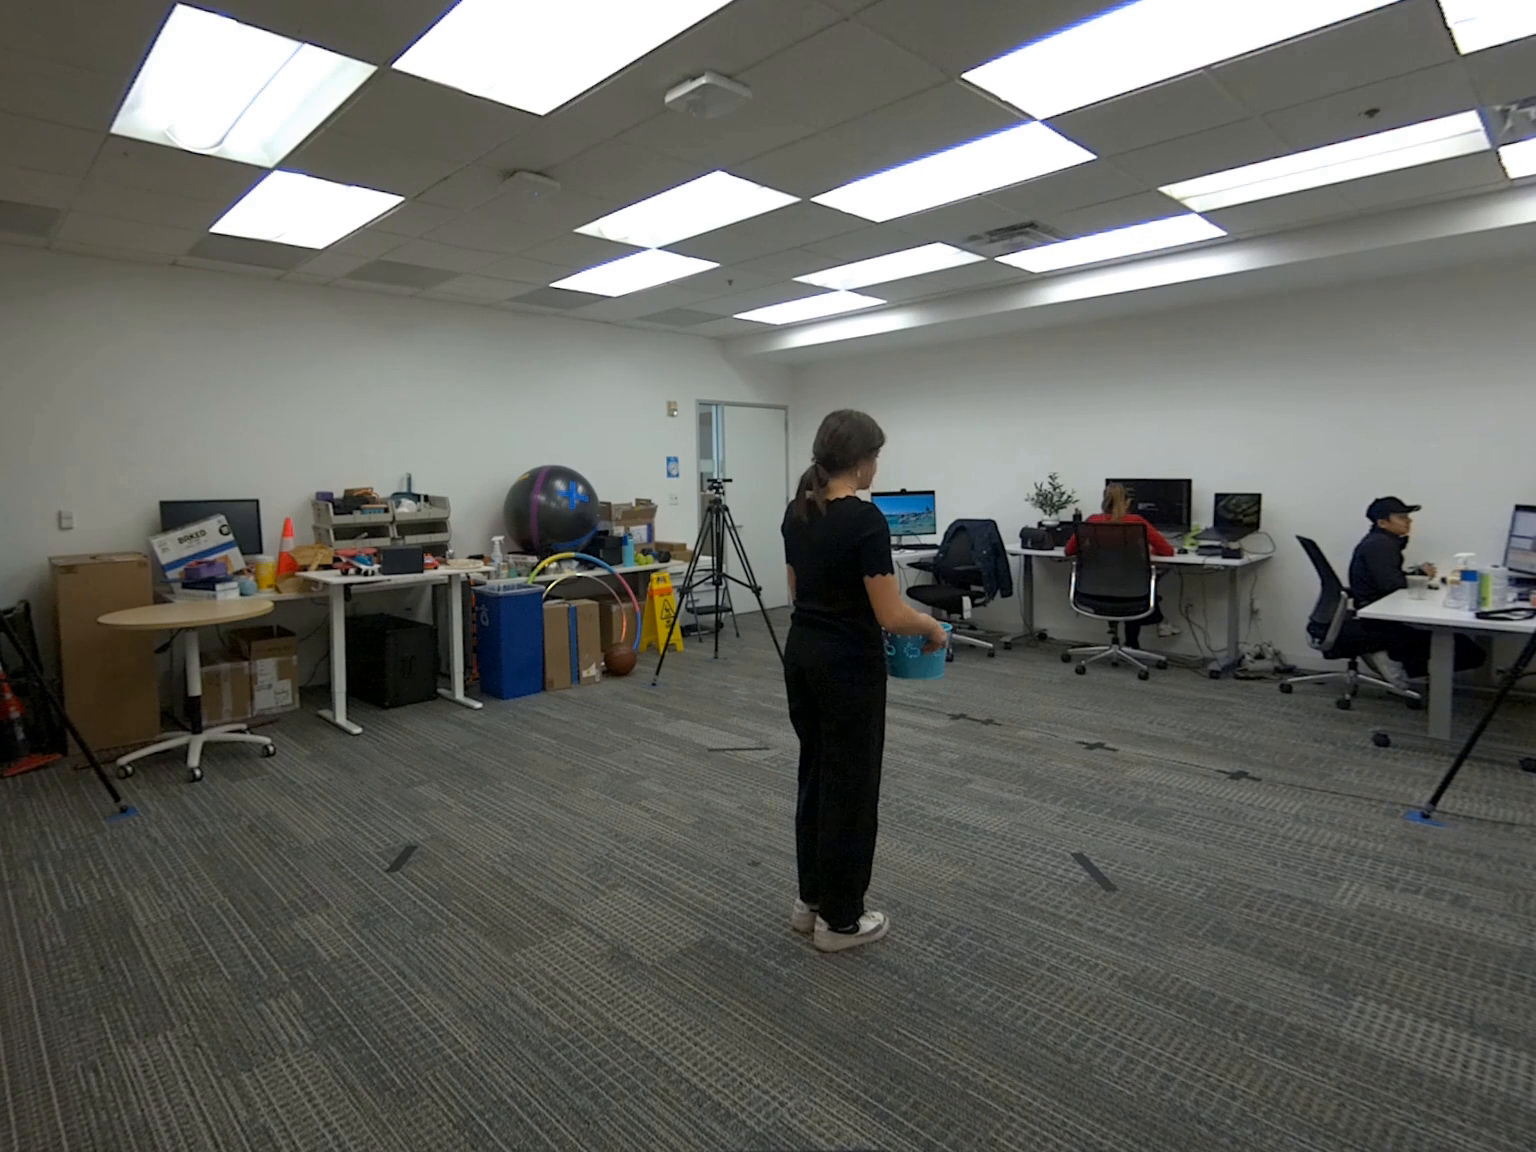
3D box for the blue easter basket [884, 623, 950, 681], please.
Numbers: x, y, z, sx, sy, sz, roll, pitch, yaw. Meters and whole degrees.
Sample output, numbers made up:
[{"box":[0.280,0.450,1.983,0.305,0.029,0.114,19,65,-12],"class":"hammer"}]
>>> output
[{"box":[0.468,0.235,2.690,0.243,0.155,0.245,-2,7,-2],"class":"blue easter basket"}]
